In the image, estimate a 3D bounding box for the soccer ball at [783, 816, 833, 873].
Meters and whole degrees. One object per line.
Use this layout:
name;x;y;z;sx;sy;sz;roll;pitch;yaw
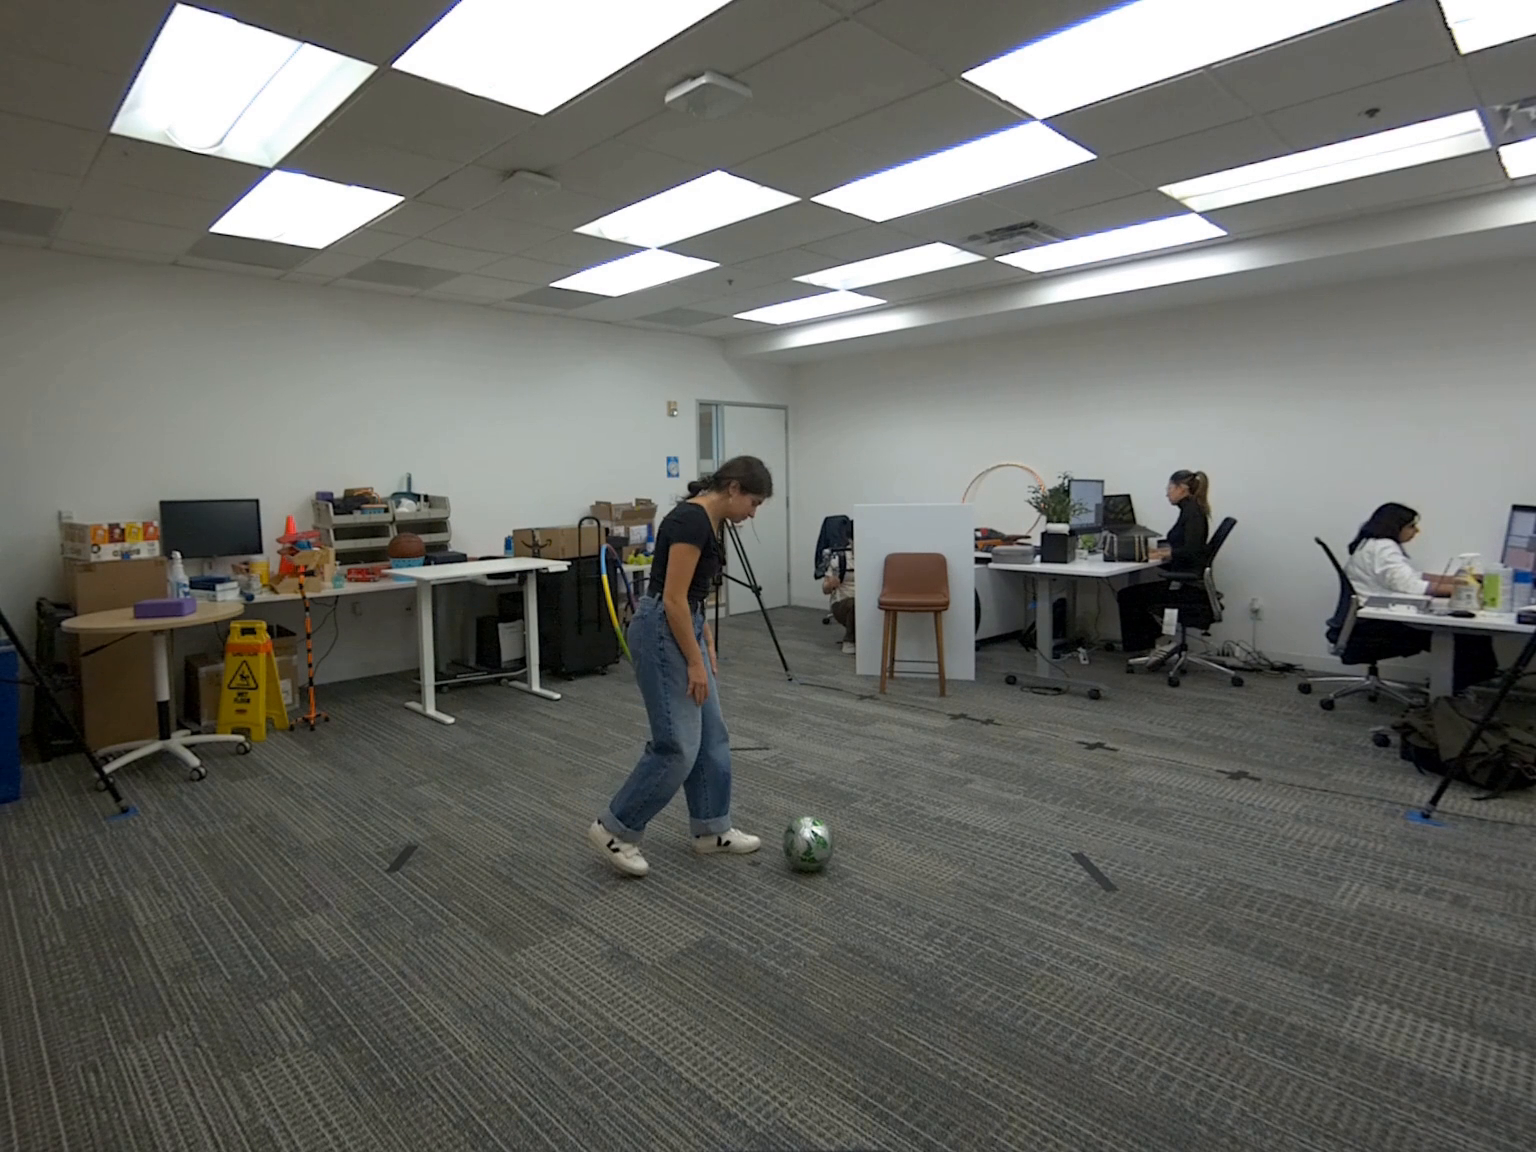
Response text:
soccer ball;0.143;0.951;3.054;0.187;0.187;0.188;-1;5;-2
